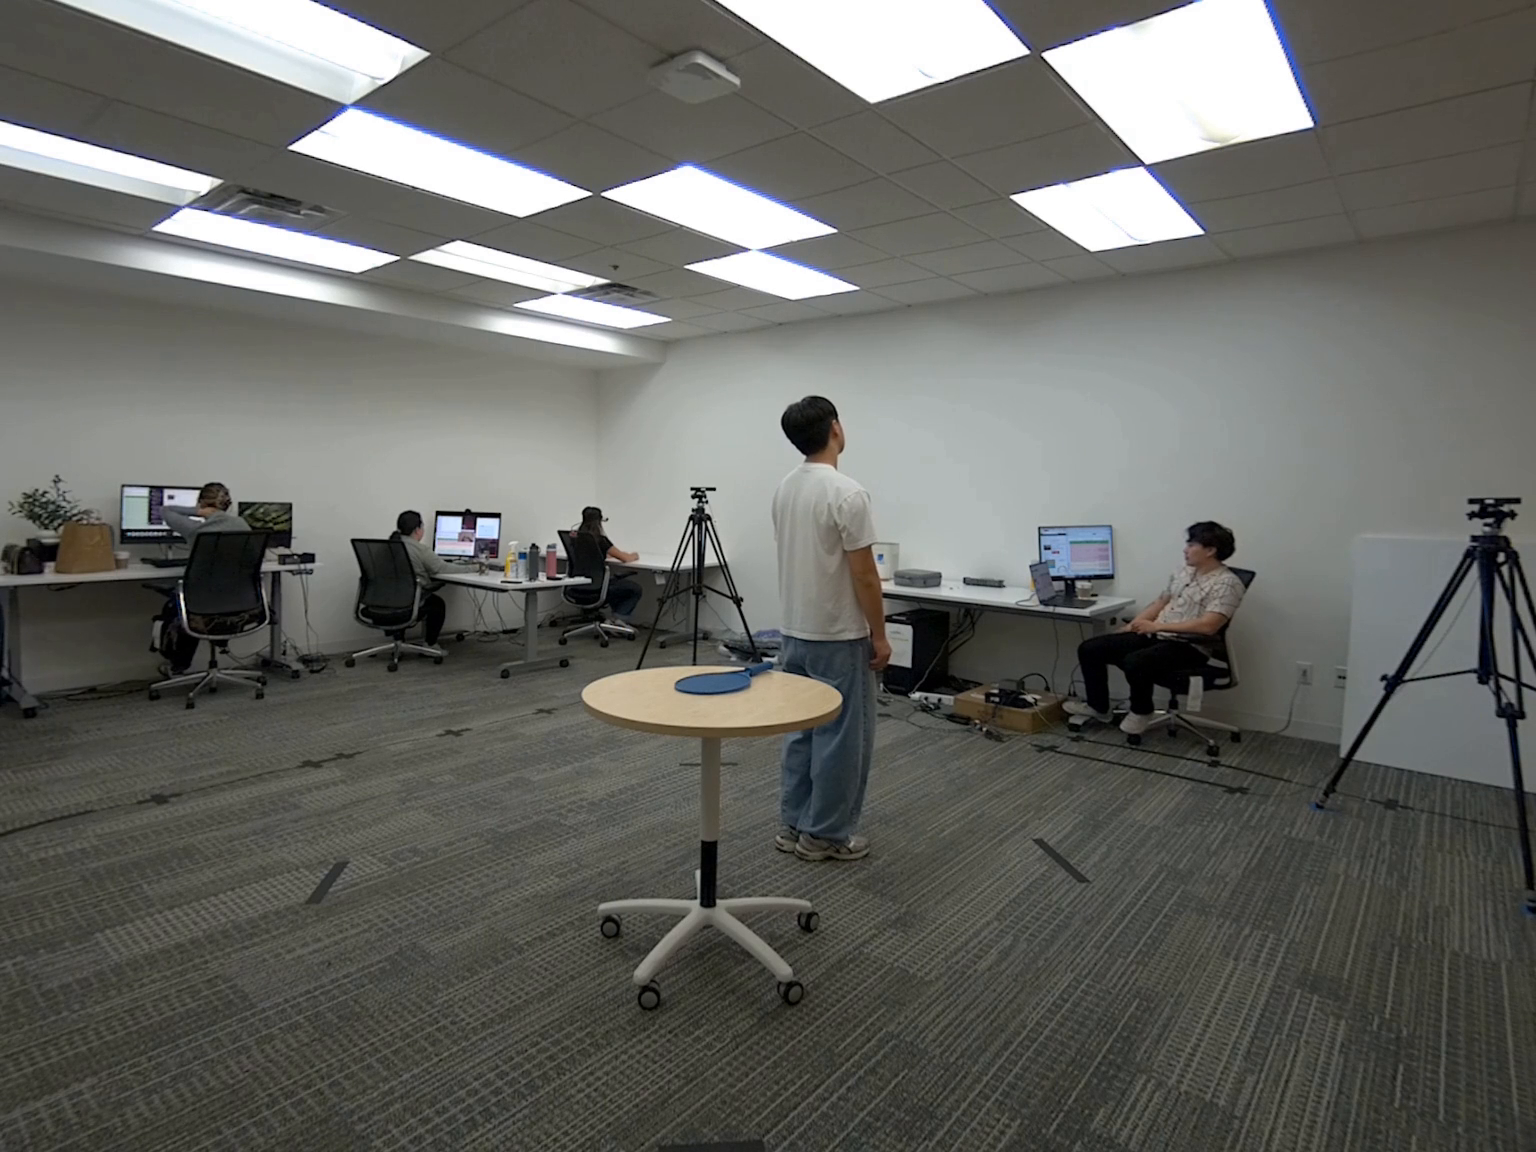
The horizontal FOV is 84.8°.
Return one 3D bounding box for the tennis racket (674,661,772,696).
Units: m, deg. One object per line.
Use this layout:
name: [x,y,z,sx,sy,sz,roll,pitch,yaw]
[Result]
tennis racket: [-0.125,0.319,2.670,0.221,0.031,0.421,5,9,38]
